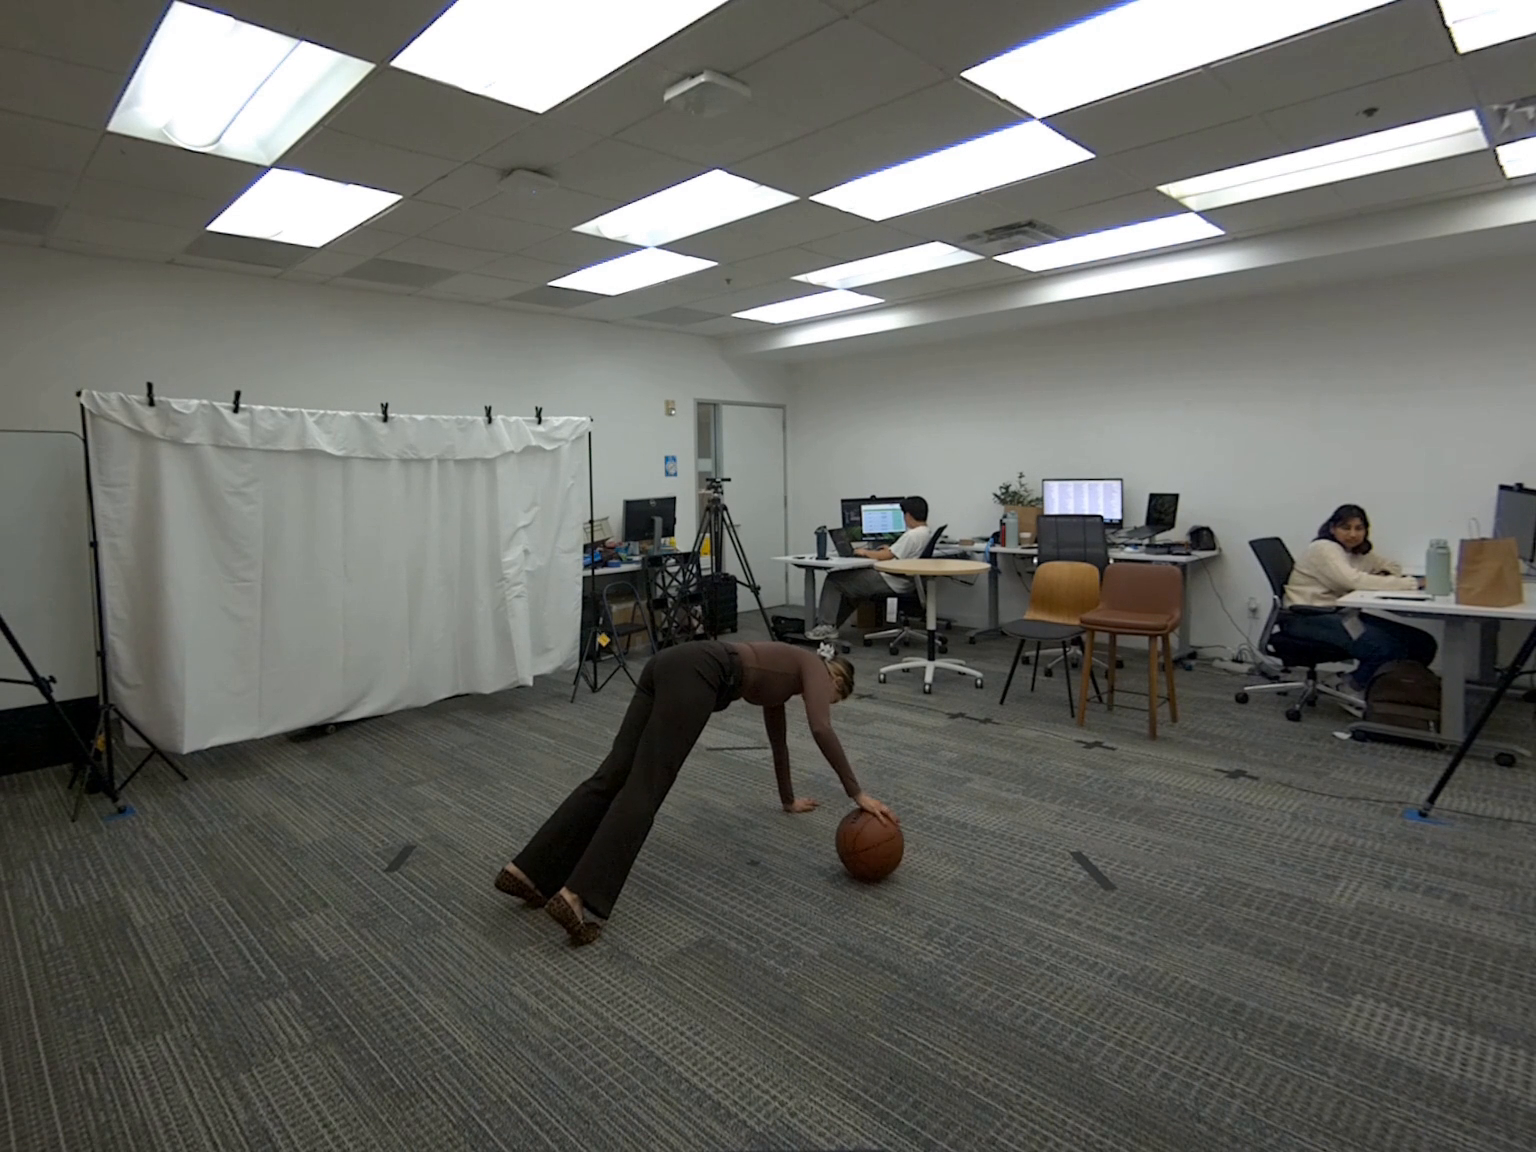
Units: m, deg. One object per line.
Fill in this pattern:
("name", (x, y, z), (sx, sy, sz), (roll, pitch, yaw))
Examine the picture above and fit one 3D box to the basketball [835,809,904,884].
("basketball", (0.341, 0.923, 2.991), (0.236, 0.235, 0.237), (-1, 5, -2))
